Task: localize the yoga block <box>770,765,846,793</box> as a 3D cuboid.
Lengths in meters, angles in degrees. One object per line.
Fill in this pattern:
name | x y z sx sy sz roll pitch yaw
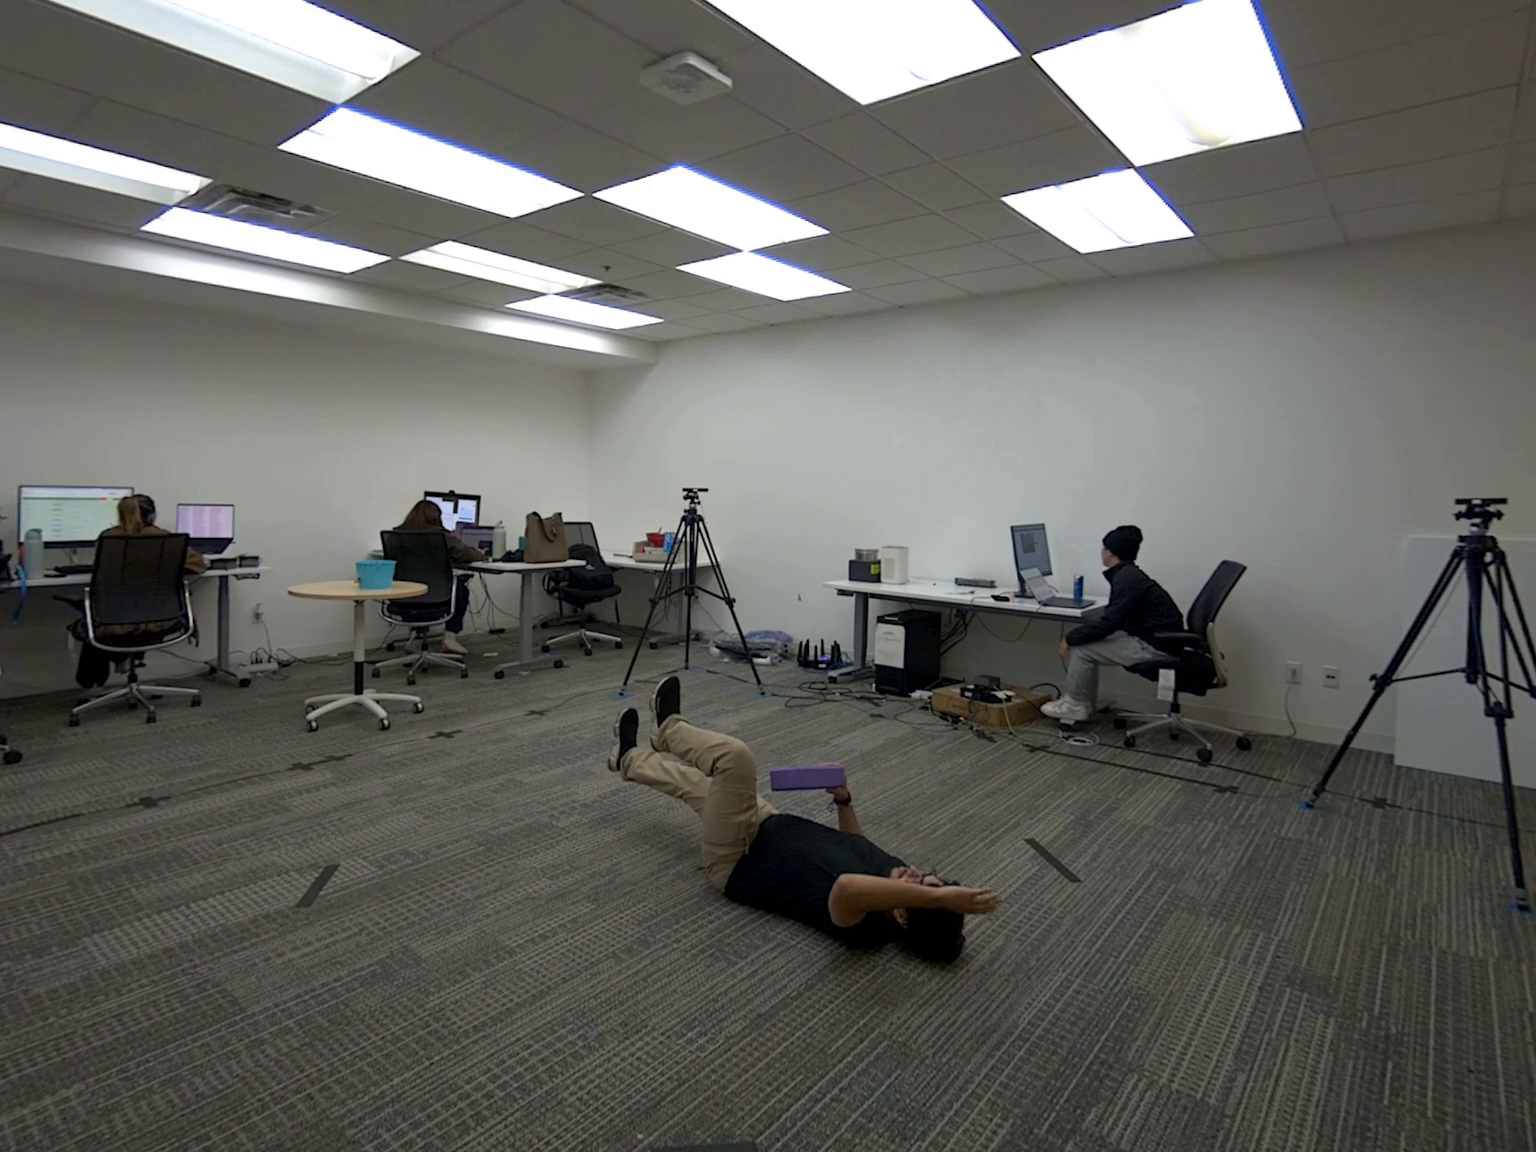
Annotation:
yoga block | 0.127 0.713 2.988 0.223 0.077 0.151 5 -16 -30
